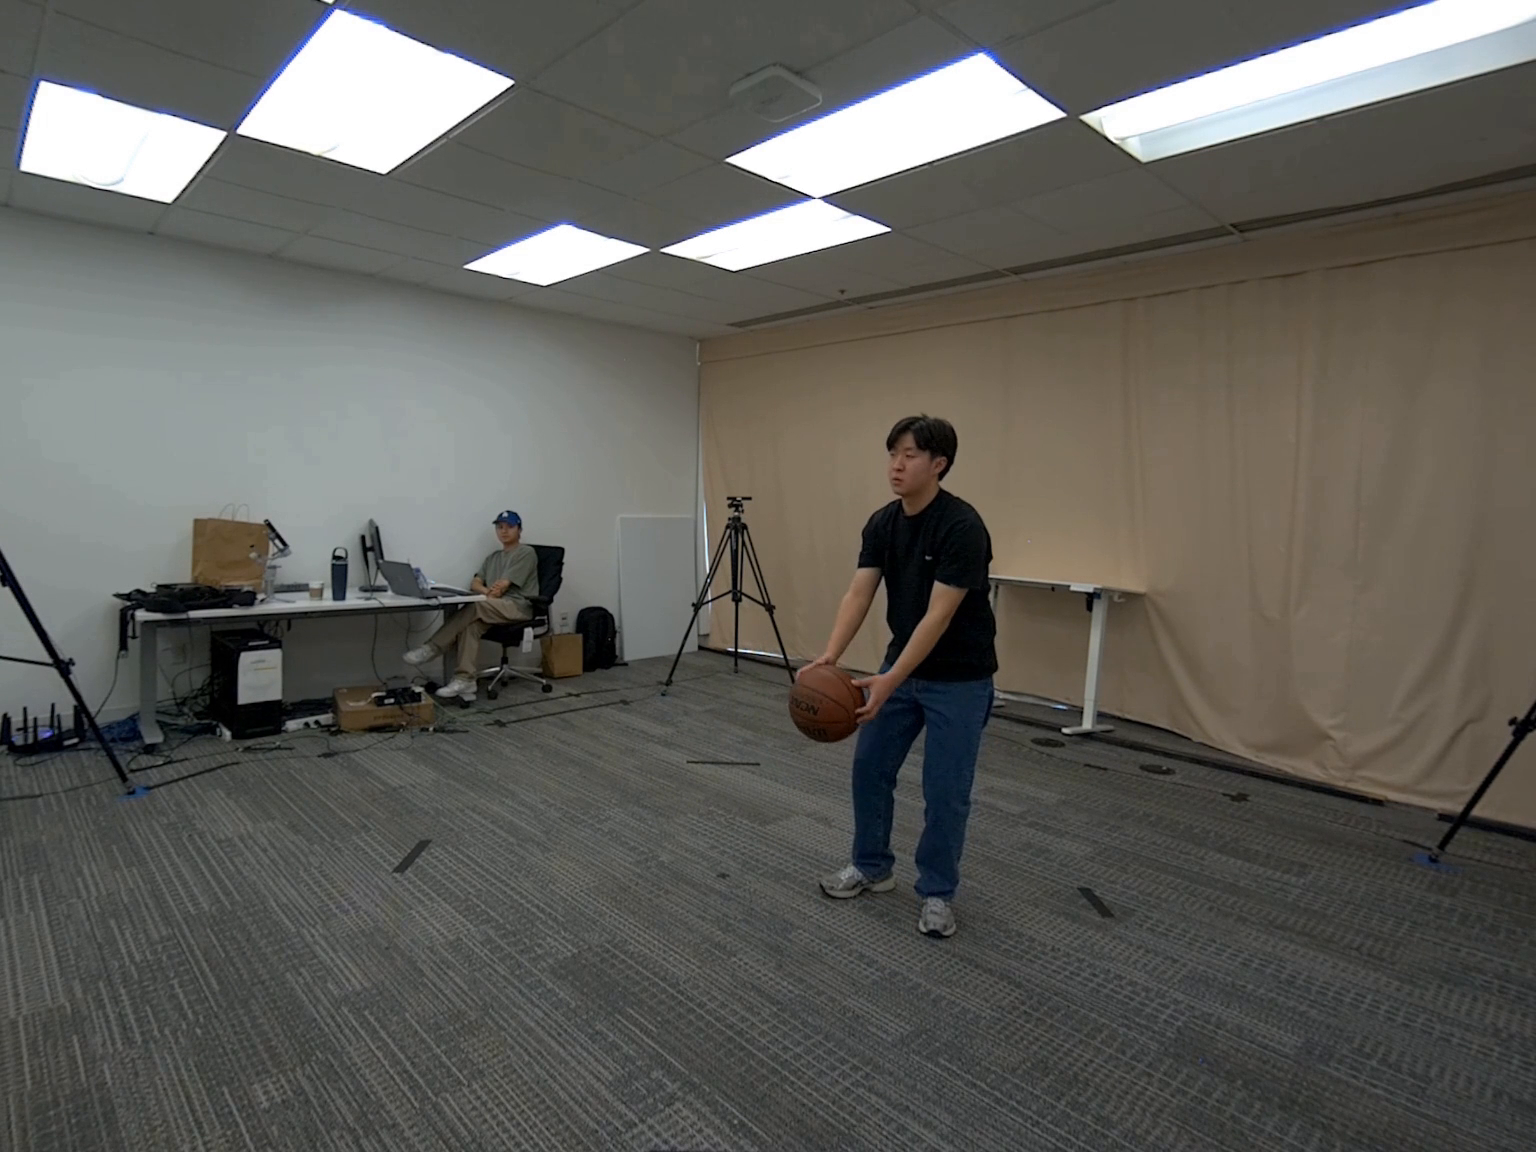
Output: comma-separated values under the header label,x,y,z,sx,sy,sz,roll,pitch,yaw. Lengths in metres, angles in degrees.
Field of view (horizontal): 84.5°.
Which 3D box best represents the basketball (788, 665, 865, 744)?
label,x,y,z,sx,sy,sz,roll,pitch,yaw
basketball,0.176,0.399,2.619,0.236,0.235,0.237,1,4,-1
